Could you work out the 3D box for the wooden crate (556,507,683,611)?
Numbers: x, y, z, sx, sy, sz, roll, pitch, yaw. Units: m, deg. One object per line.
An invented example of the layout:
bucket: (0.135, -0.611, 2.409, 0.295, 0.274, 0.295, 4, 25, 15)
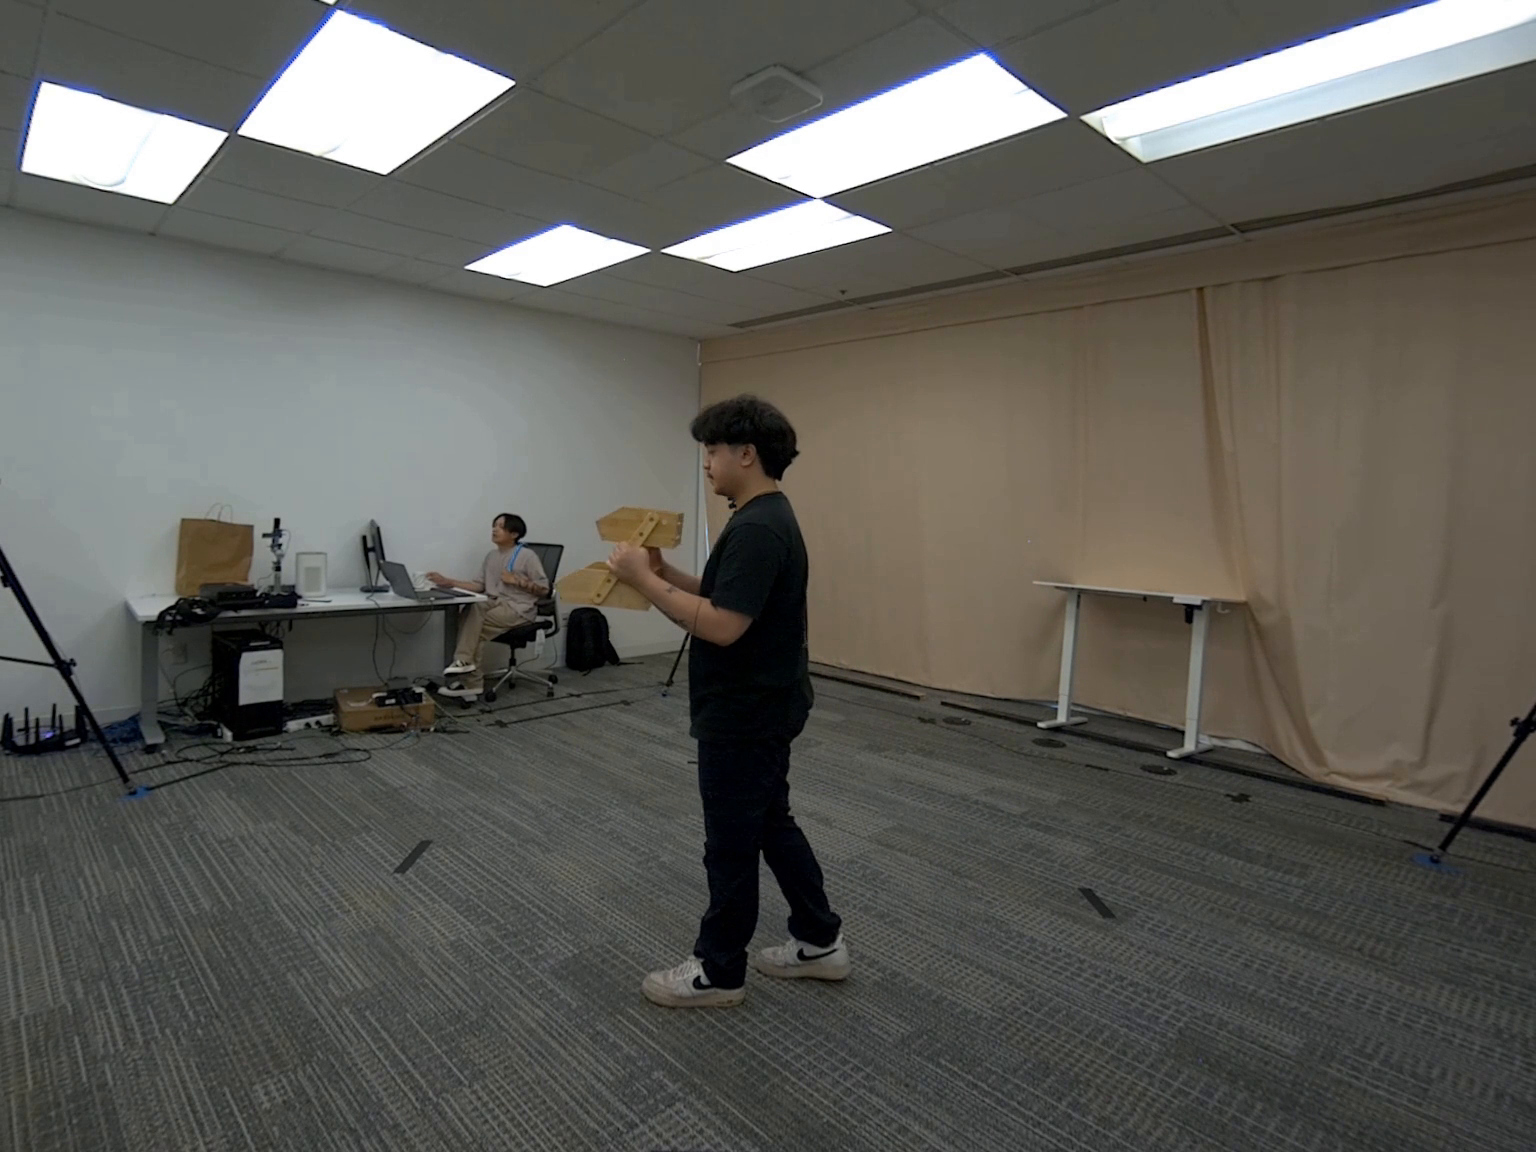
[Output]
wooden crate: (-0.402, -0.063, 2.309, 0.301, 0.273, 0.326, 7, 3, -4)
